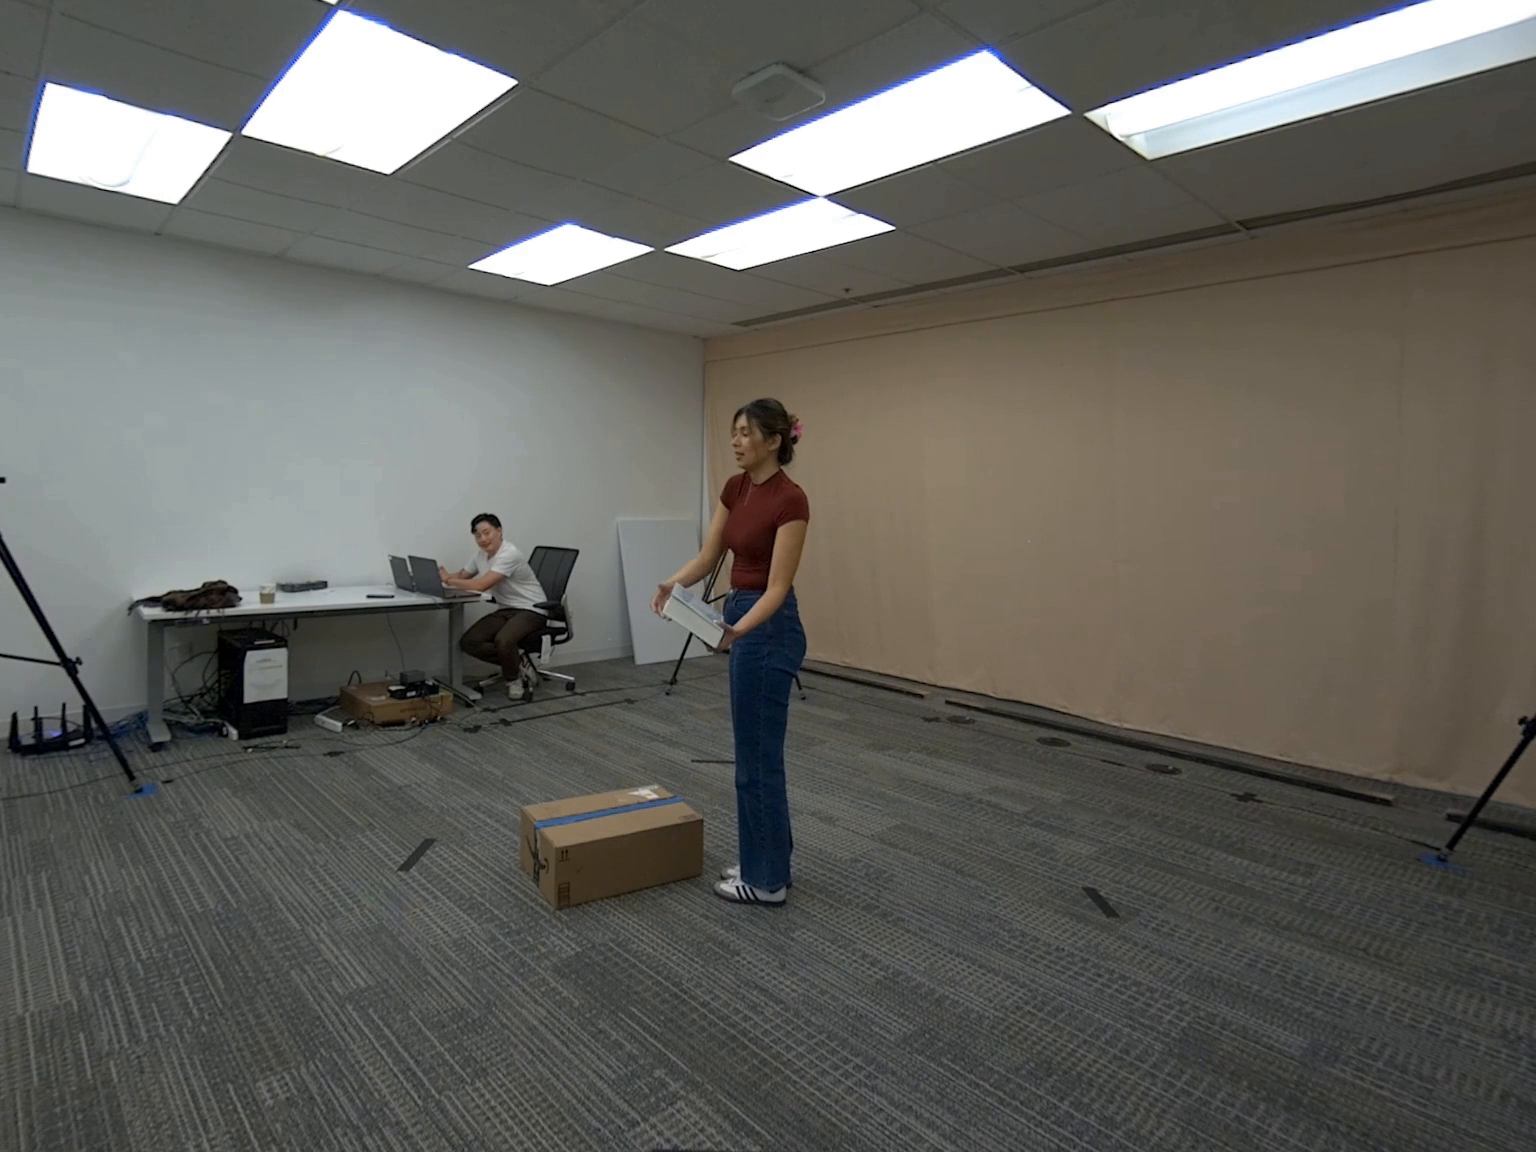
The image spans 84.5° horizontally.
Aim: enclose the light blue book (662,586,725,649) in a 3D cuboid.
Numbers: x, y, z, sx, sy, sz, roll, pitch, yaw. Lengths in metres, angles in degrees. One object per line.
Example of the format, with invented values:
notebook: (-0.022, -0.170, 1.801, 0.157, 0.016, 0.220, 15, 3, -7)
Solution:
light blue book: (-0.229, 0.110, 2.526, 0.190, 0.059, 0.262, 36, 1, -6)
